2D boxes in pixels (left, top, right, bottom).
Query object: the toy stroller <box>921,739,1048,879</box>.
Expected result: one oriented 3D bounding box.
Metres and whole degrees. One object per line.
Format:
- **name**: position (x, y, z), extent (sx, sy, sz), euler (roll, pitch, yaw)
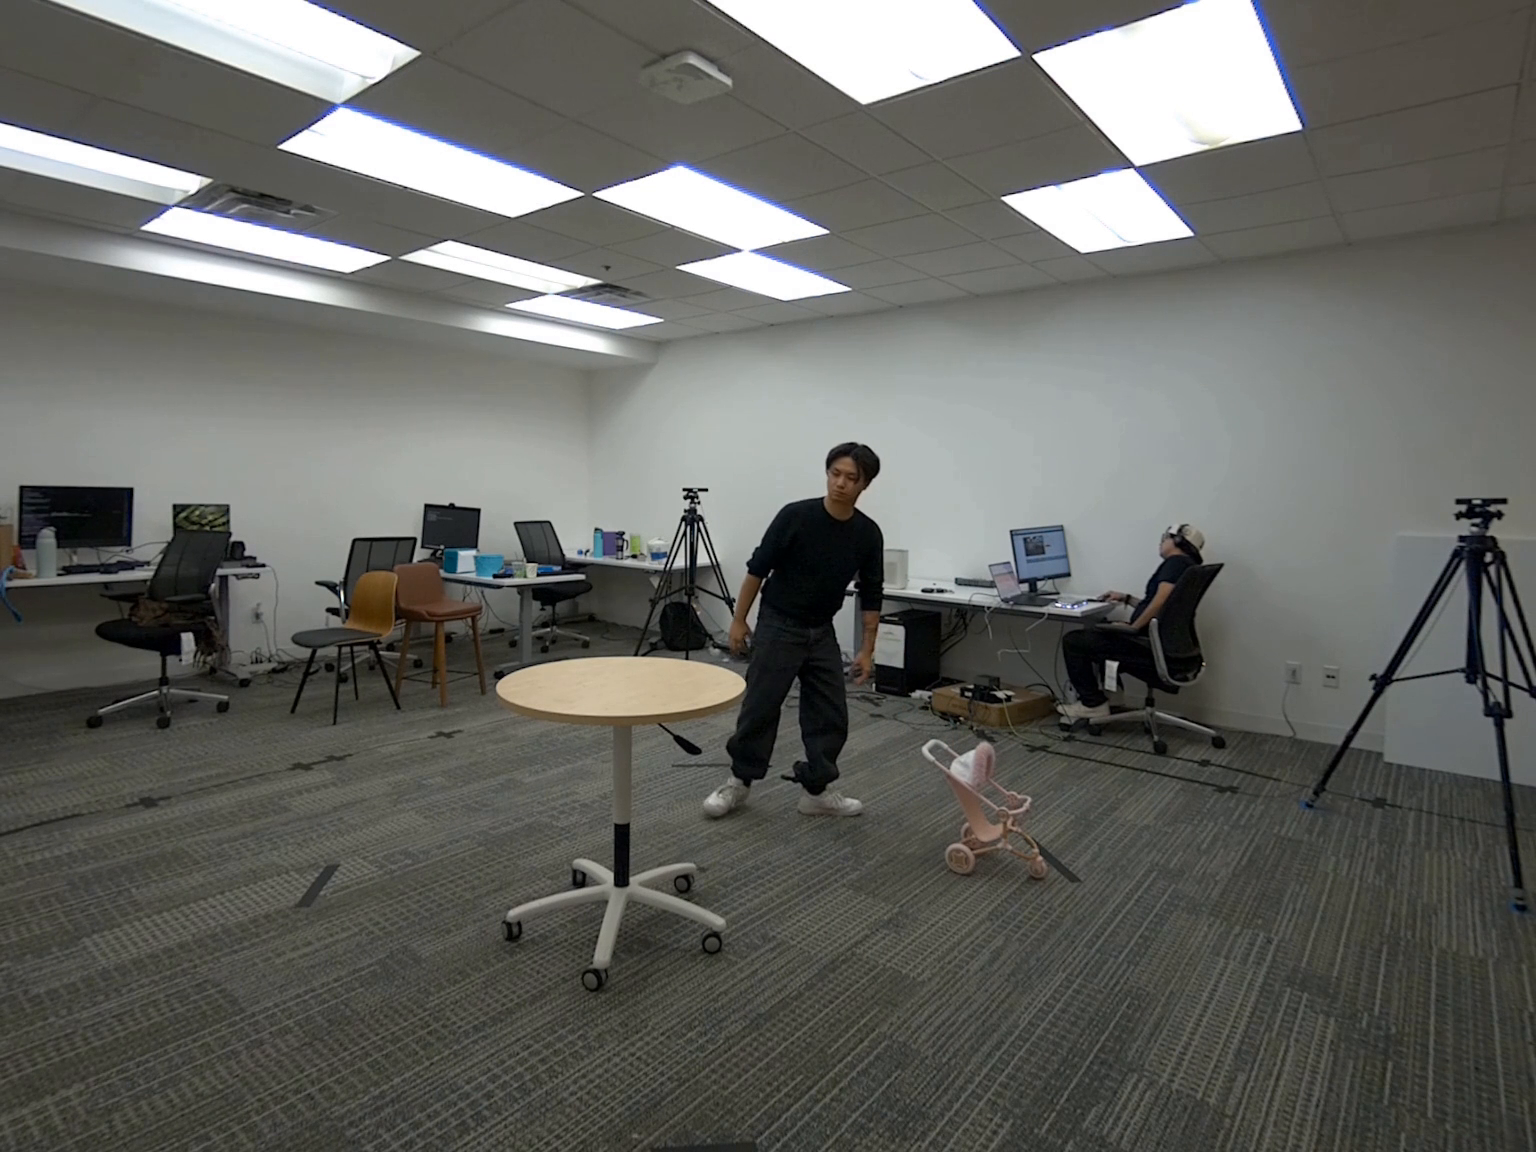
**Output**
- **toy stroller**: position (0.815, 0.861, 3.194), extent (0.348, 0.539, 0.274), euler (-17, -7, 32)
